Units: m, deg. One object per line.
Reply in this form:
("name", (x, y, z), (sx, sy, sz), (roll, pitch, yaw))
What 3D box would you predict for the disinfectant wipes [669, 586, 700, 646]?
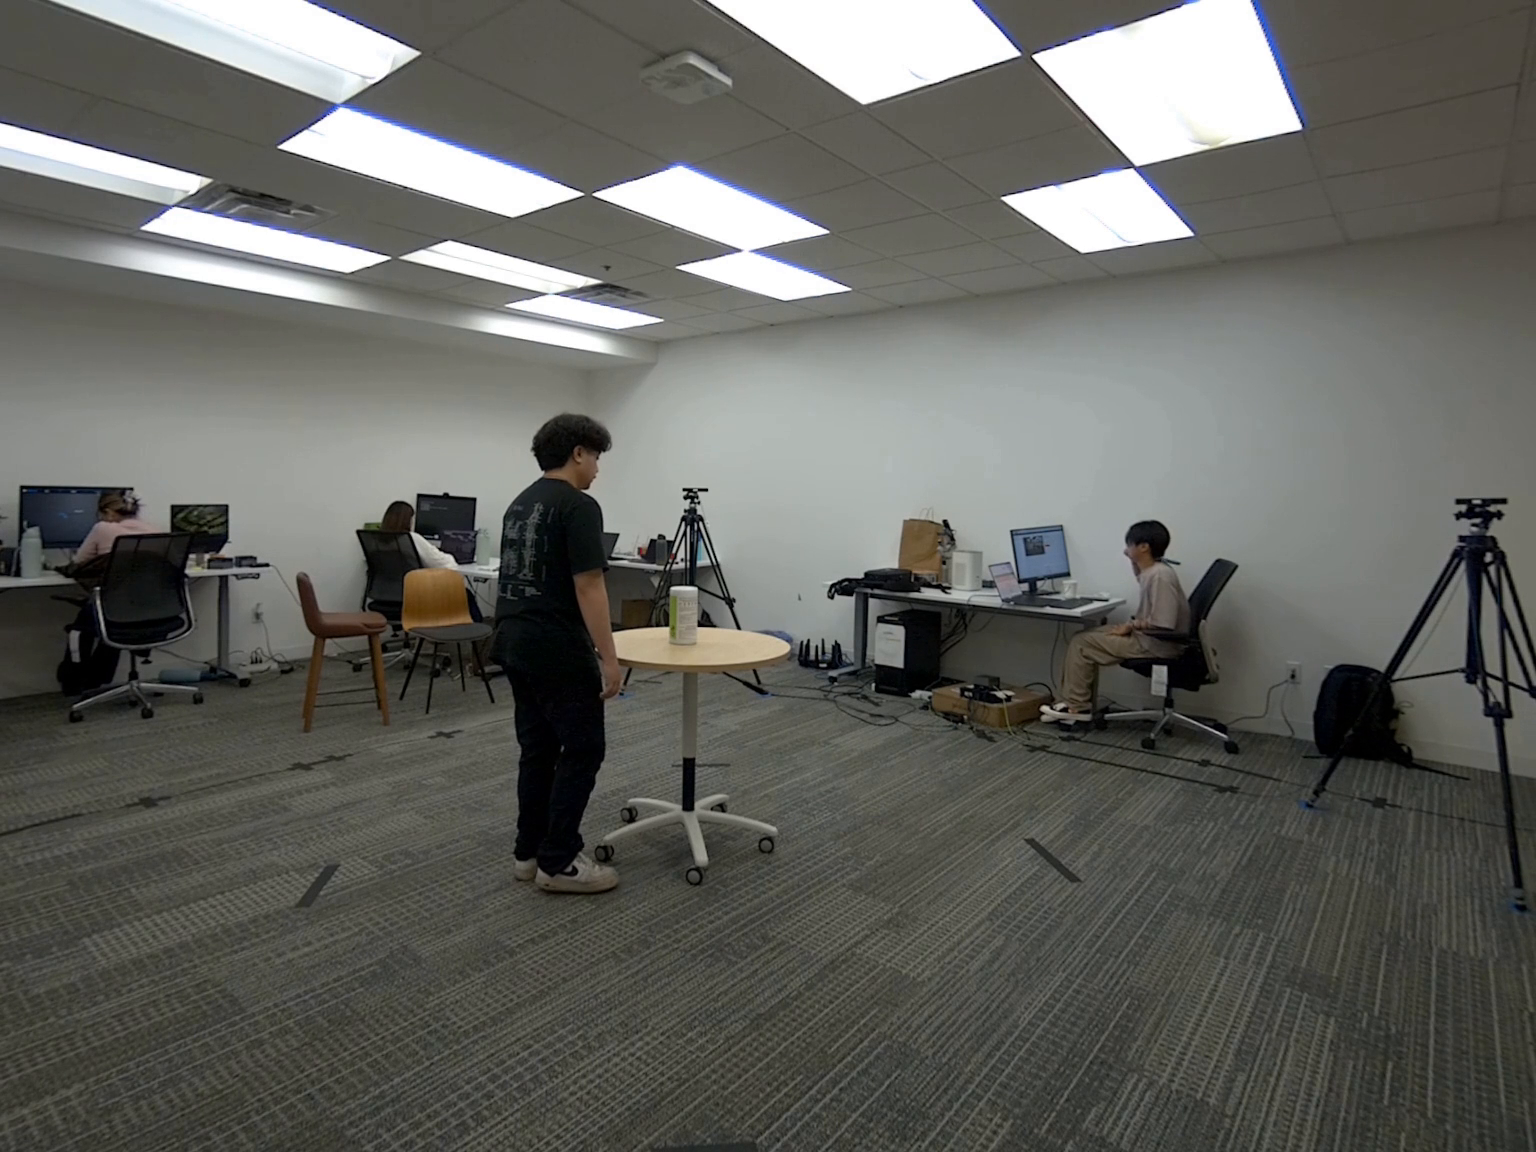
("disinfectant wipes", (-0.340, 0.153, 3.295), (0.118, 0.217, 0.118), (1, 3, -2))
